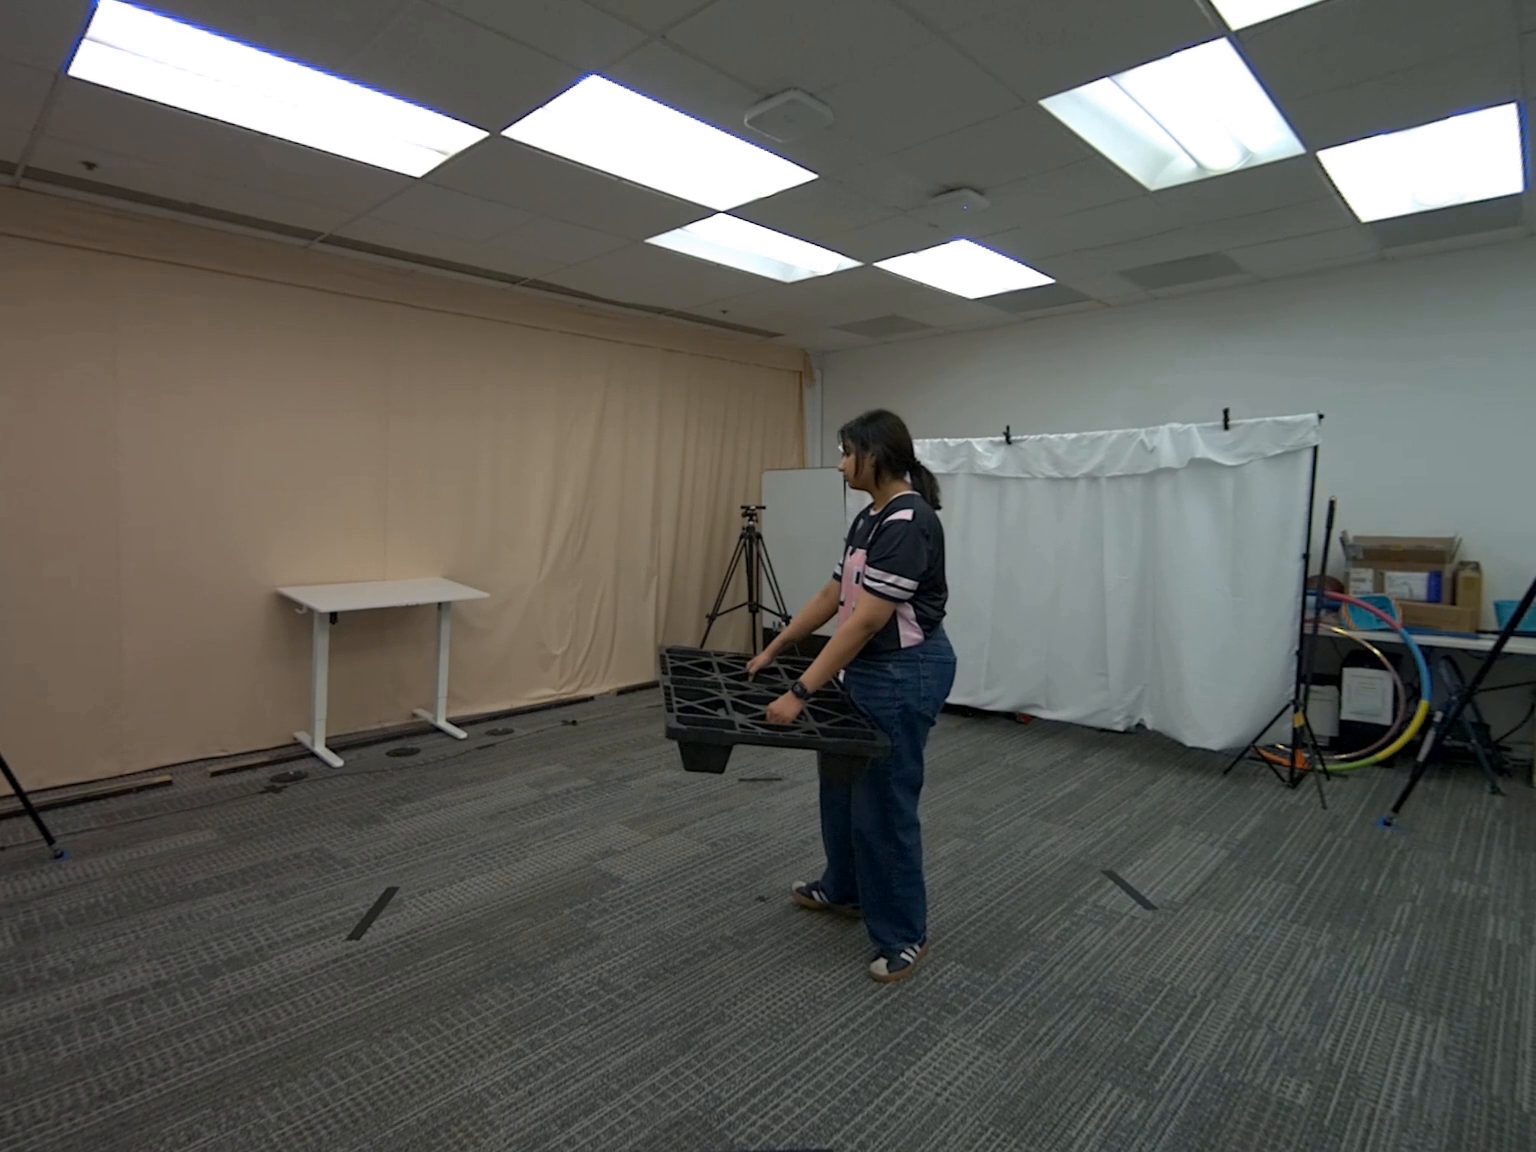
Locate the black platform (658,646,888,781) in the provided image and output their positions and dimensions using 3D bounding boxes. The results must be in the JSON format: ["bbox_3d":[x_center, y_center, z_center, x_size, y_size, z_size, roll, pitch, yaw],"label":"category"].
[{"bbox_3d":[-0.034,0.411,2.563,0.600,0.143,0.816,6,8,-8],"label":"black platform"}]
